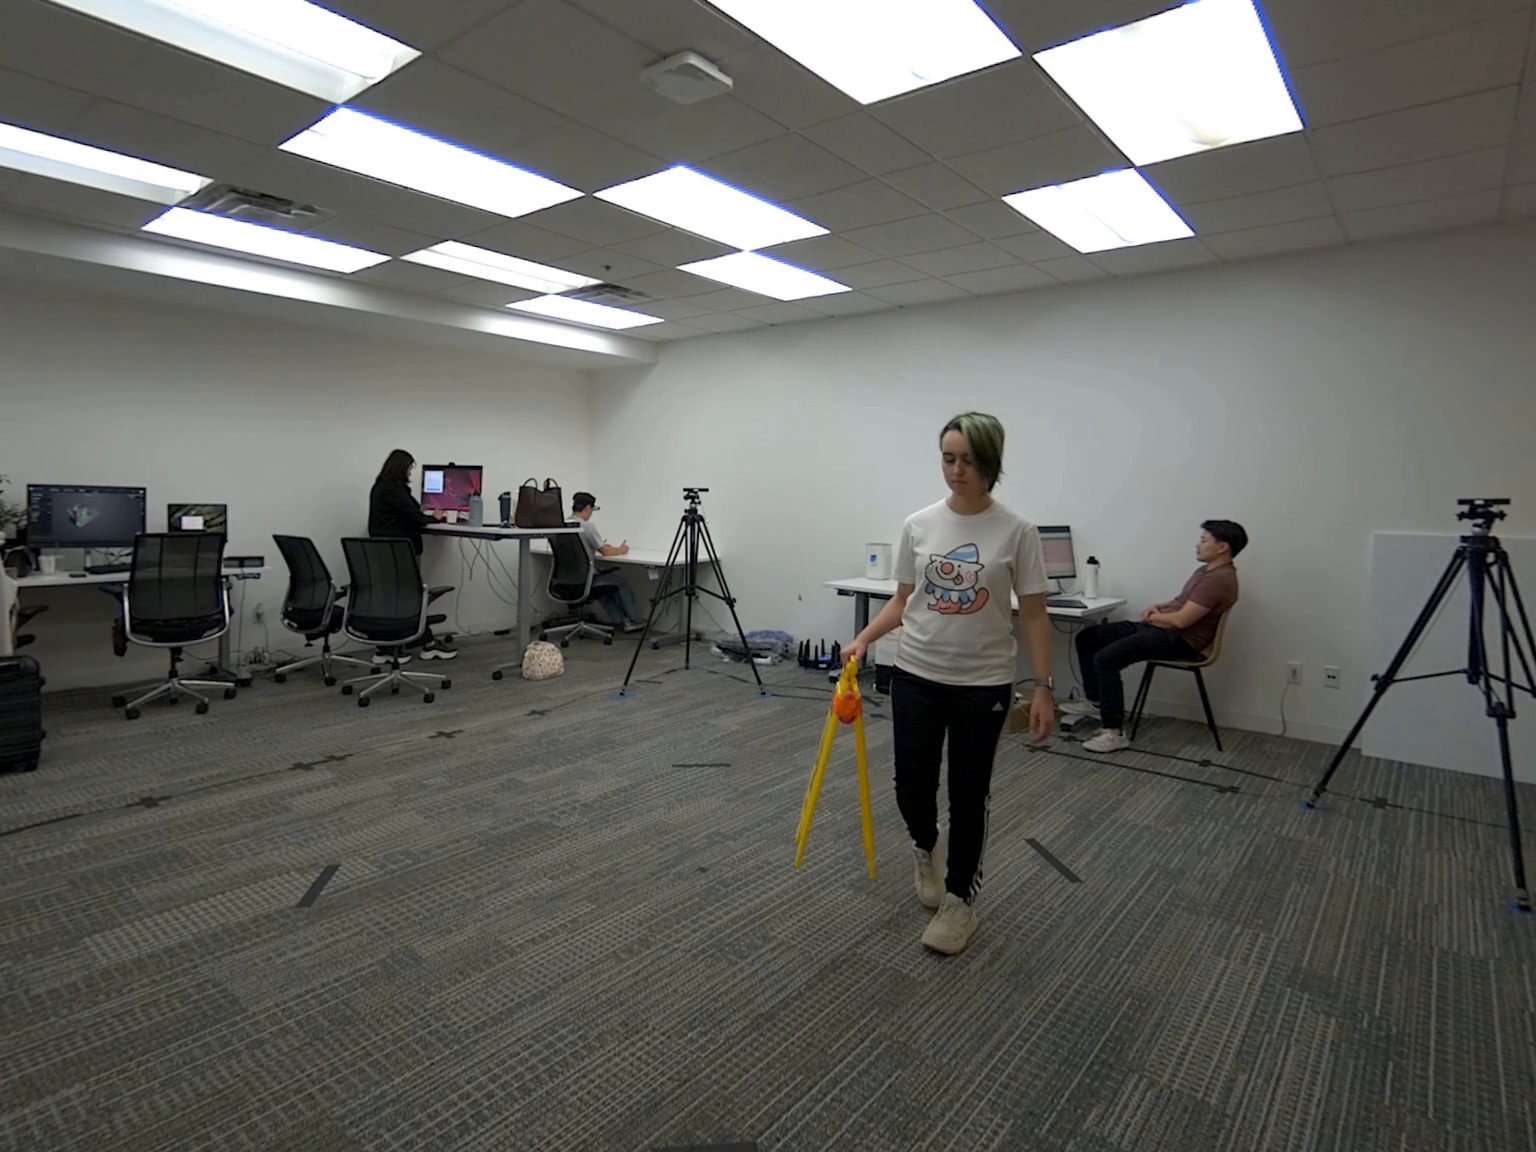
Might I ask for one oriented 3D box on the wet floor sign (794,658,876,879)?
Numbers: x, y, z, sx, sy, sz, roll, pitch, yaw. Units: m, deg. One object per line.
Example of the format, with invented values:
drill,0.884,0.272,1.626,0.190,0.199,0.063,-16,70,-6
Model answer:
wet floor sign,0.232,0.577,2.705,0.291,0.645,0.281,4,1,4
